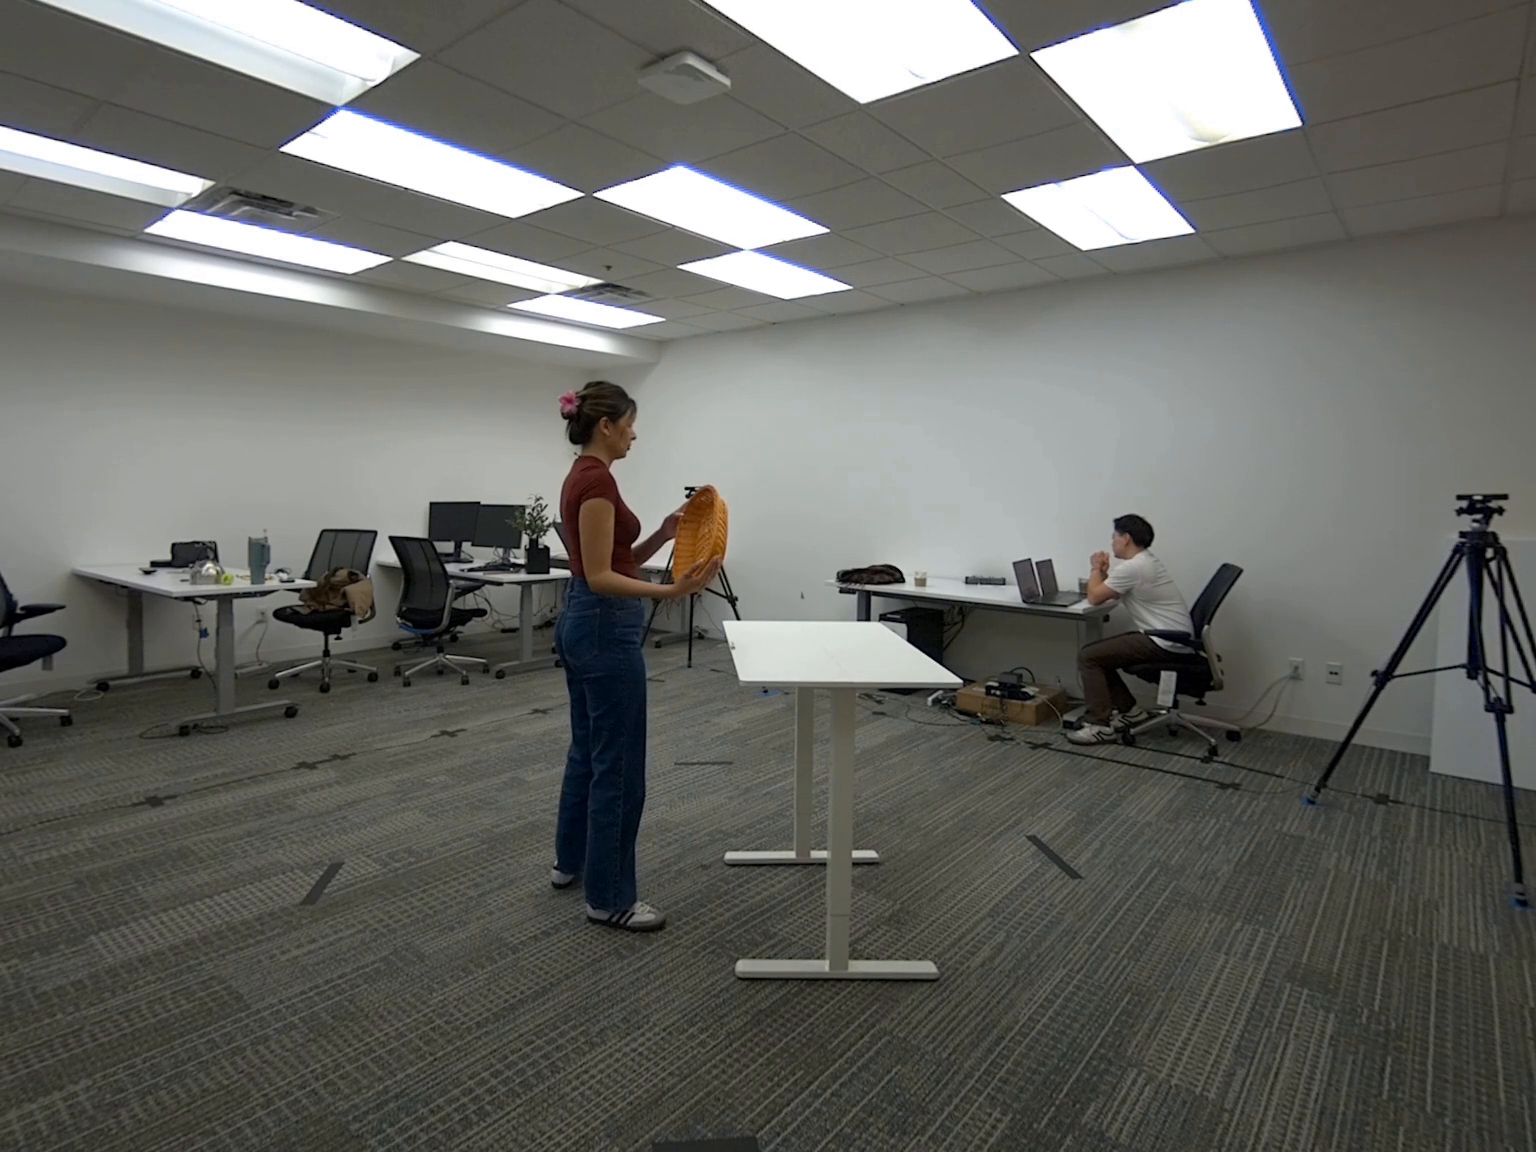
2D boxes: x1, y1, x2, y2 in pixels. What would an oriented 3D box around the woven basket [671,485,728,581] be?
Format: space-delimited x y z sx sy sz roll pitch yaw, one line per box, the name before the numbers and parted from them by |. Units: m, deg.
woven basket | -0.215 -0.107 2.608 0.071 0.358 0.255 22 -34 -28
